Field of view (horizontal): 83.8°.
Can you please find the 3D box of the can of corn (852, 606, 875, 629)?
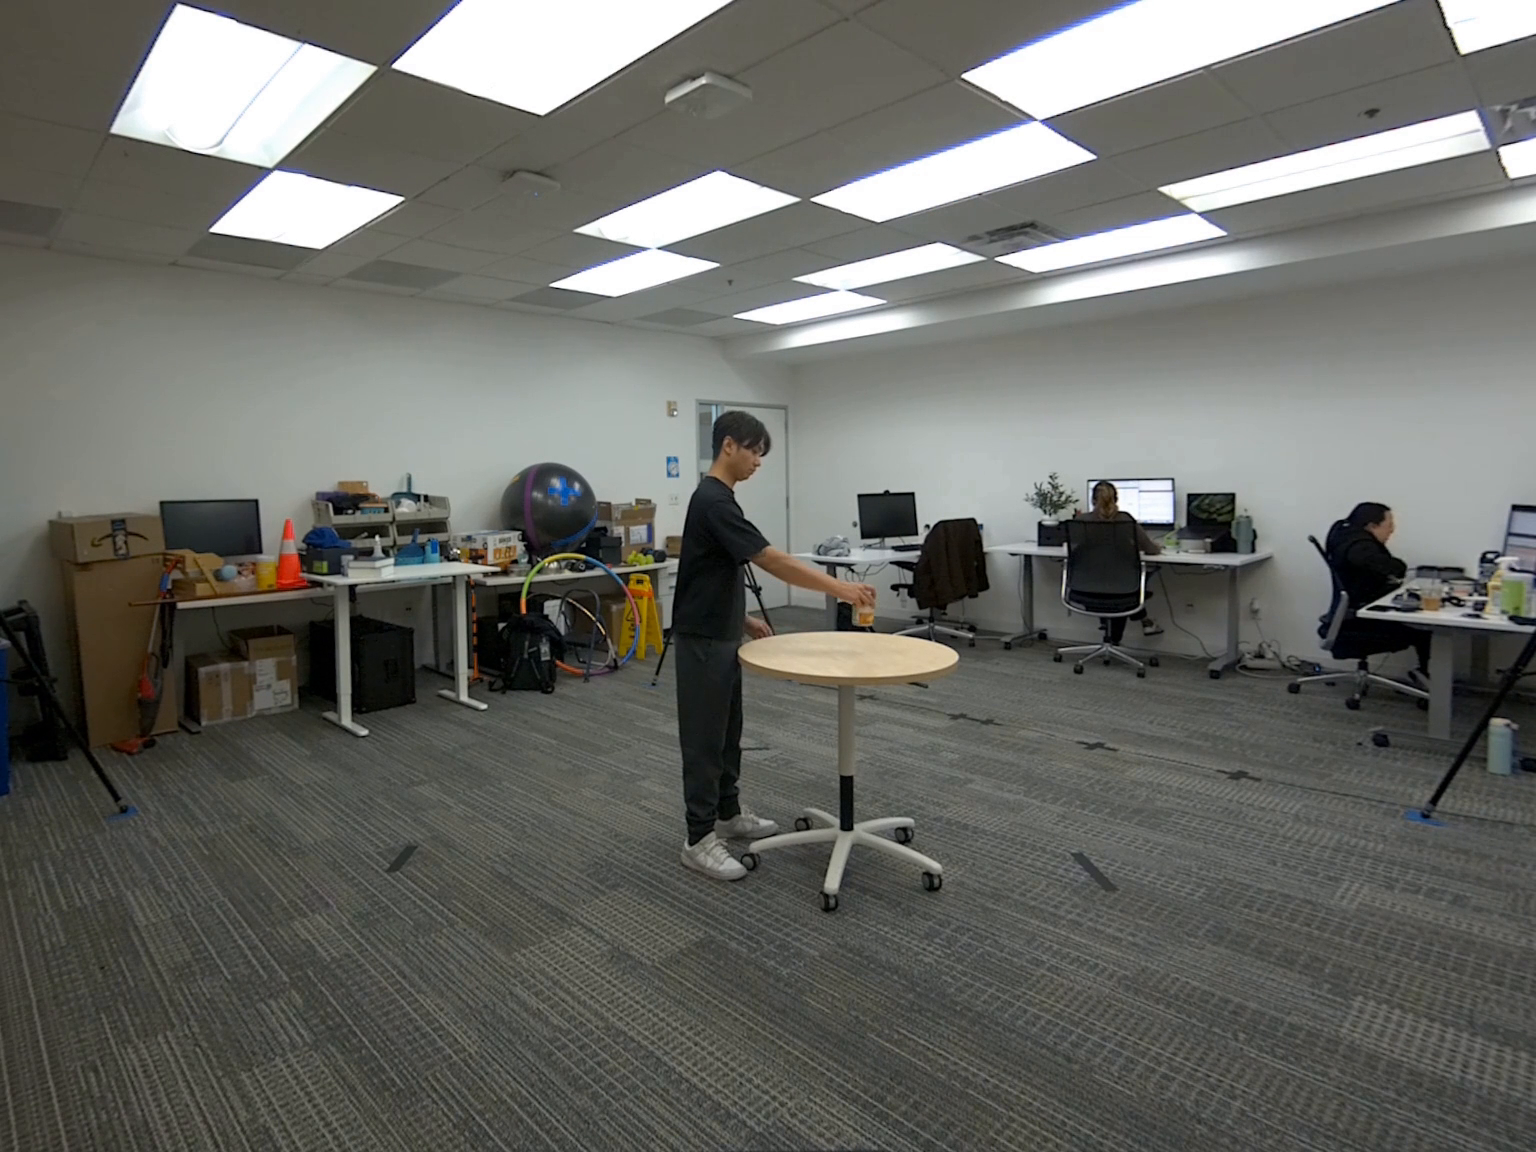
[{"bbox_3d":[0.324,0.113,2.986,0.074,0.110,0.075,-1,6,-2],"label":"can of corn"}]
